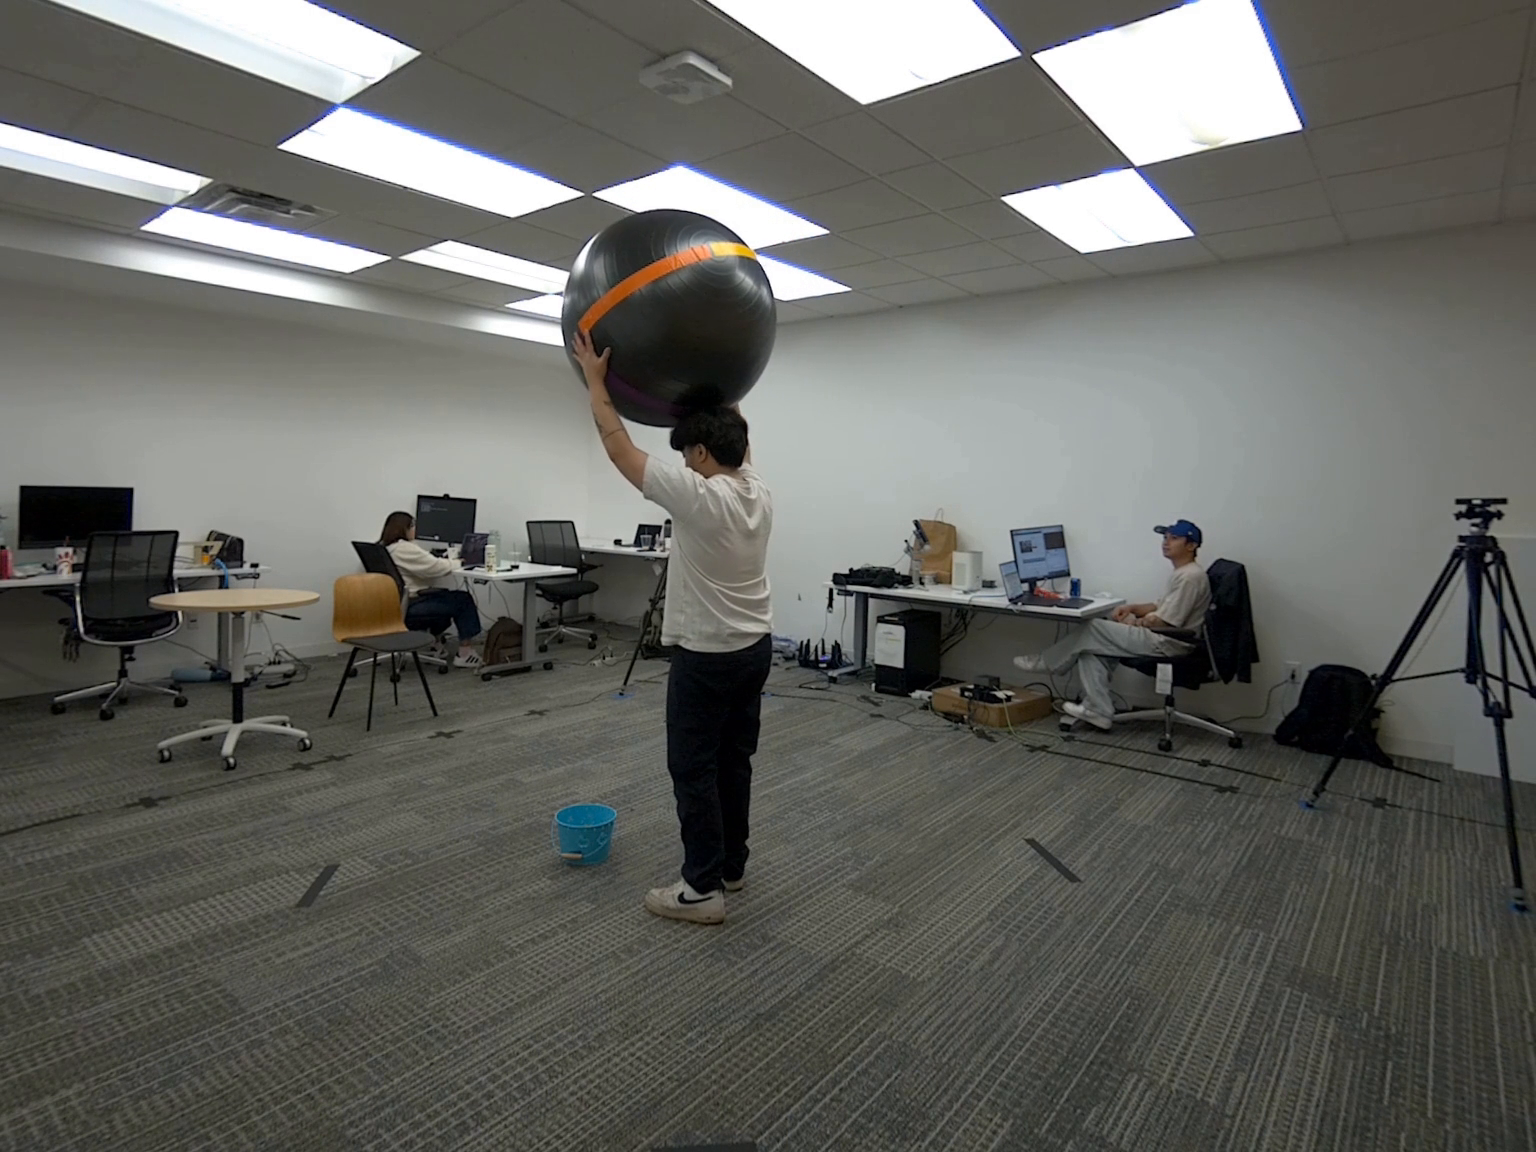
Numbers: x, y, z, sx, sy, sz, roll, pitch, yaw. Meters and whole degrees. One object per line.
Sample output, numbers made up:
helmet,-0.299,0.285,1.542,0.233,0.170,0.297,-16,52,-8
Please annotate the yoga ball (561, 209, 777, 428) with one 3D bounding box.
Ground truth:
yoga ball,-0.357,-0.906,3.014,0.757,0.755,0.762,1,4,-2
